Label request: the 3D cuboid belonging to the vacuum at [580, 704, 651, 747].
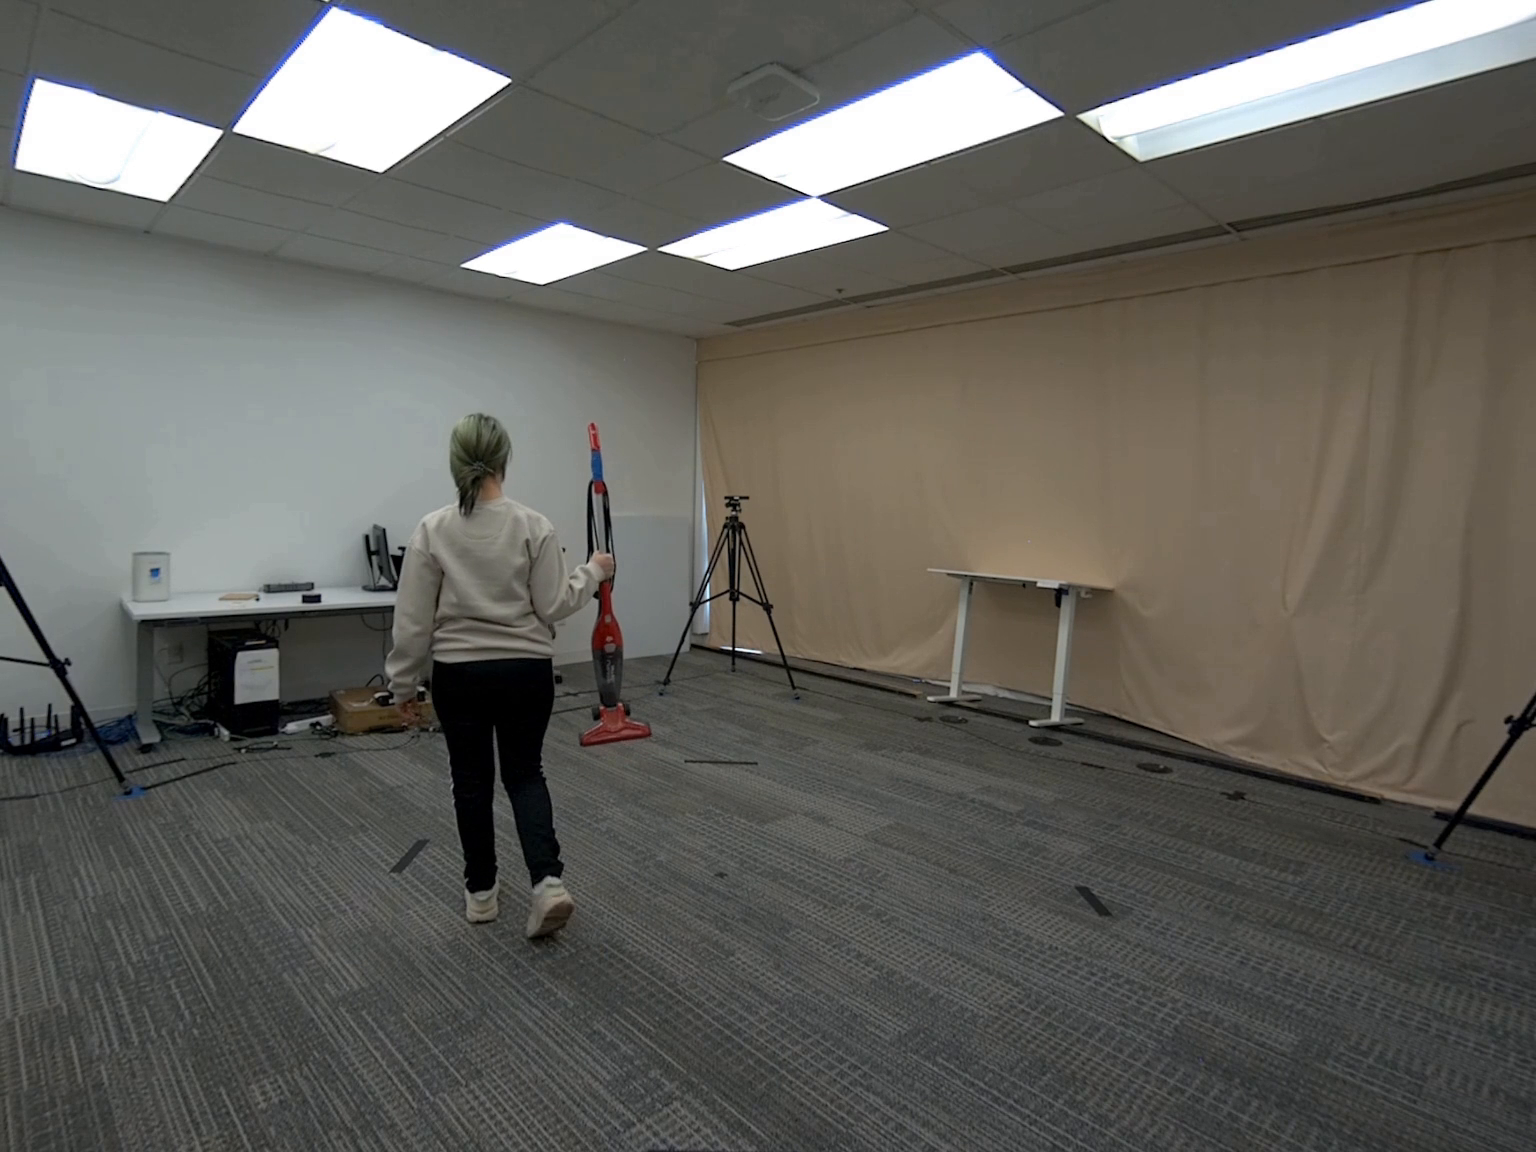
[{"bbox_3d":[-0.573,0.014,2.935,0.248,1.044,0.147,-9,7,-37],"label":"vacuum"}]
